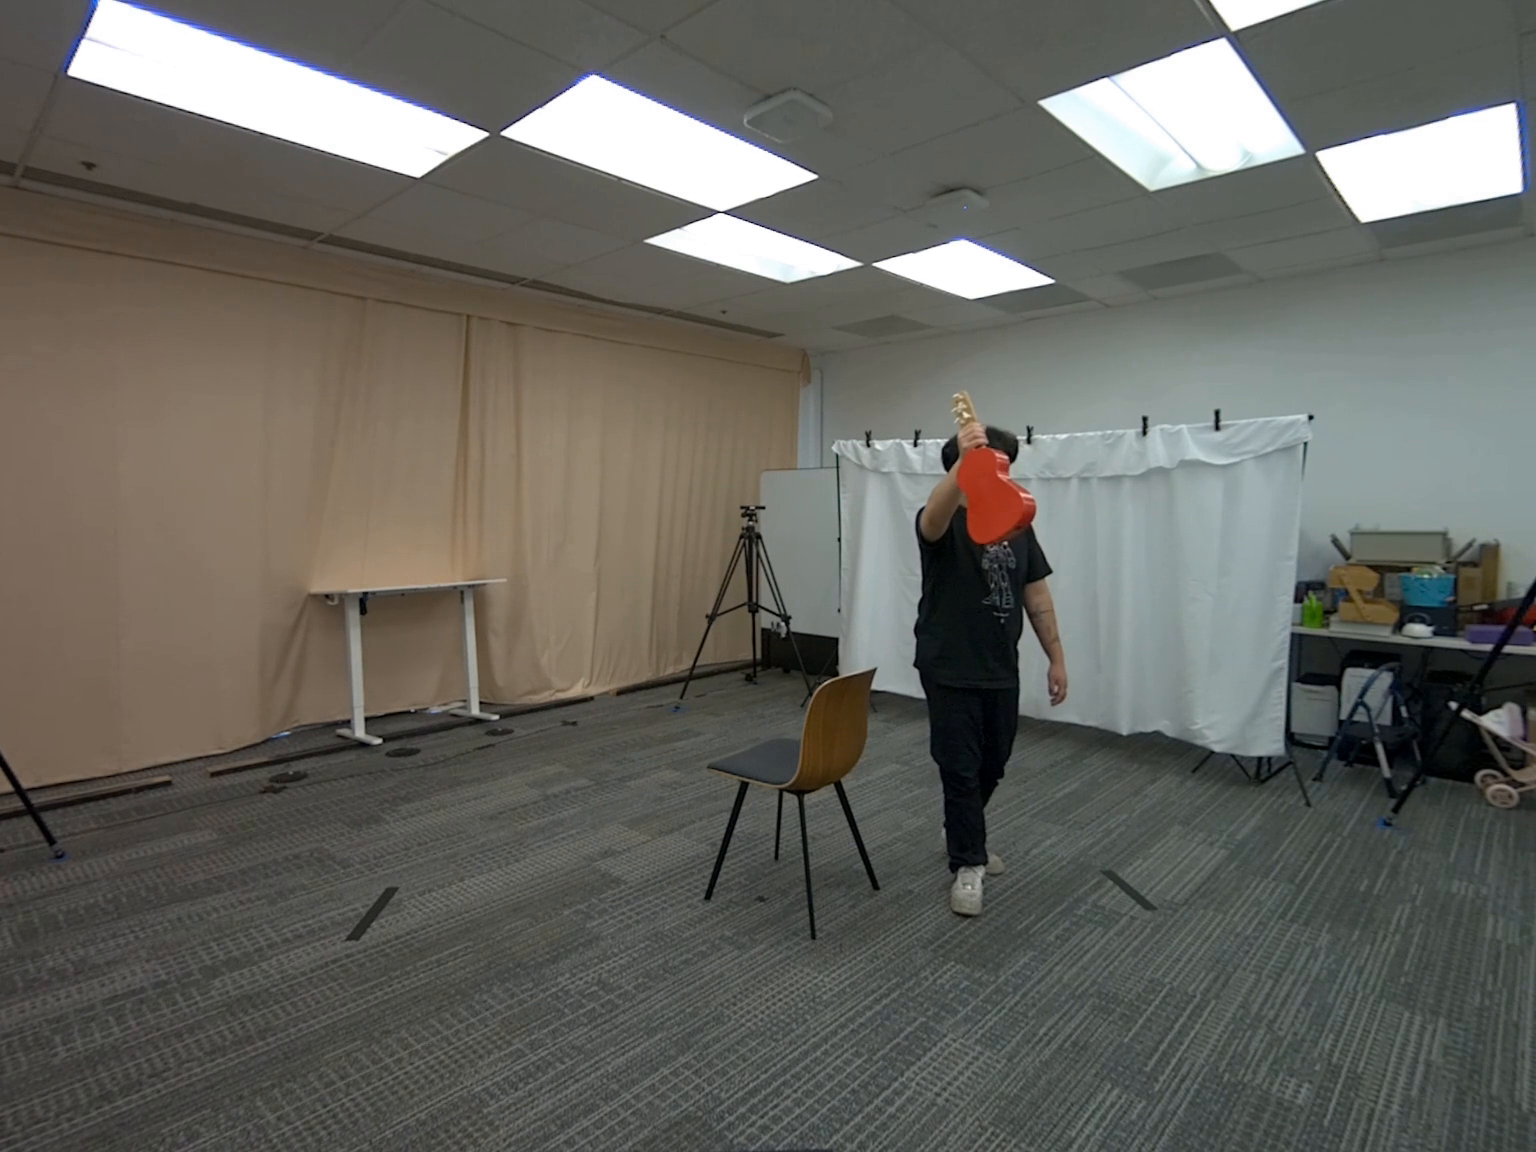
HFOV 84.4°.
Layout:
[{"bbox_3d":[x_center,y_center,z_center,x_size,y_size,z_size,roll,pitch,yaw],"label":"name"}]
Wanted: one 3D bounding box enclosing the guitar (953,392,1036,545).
[{"bbox_3d":[0.601,-0.312,2.446,0.068,0.510,0.194,5,-39,-33],"label":"guitar"}]
